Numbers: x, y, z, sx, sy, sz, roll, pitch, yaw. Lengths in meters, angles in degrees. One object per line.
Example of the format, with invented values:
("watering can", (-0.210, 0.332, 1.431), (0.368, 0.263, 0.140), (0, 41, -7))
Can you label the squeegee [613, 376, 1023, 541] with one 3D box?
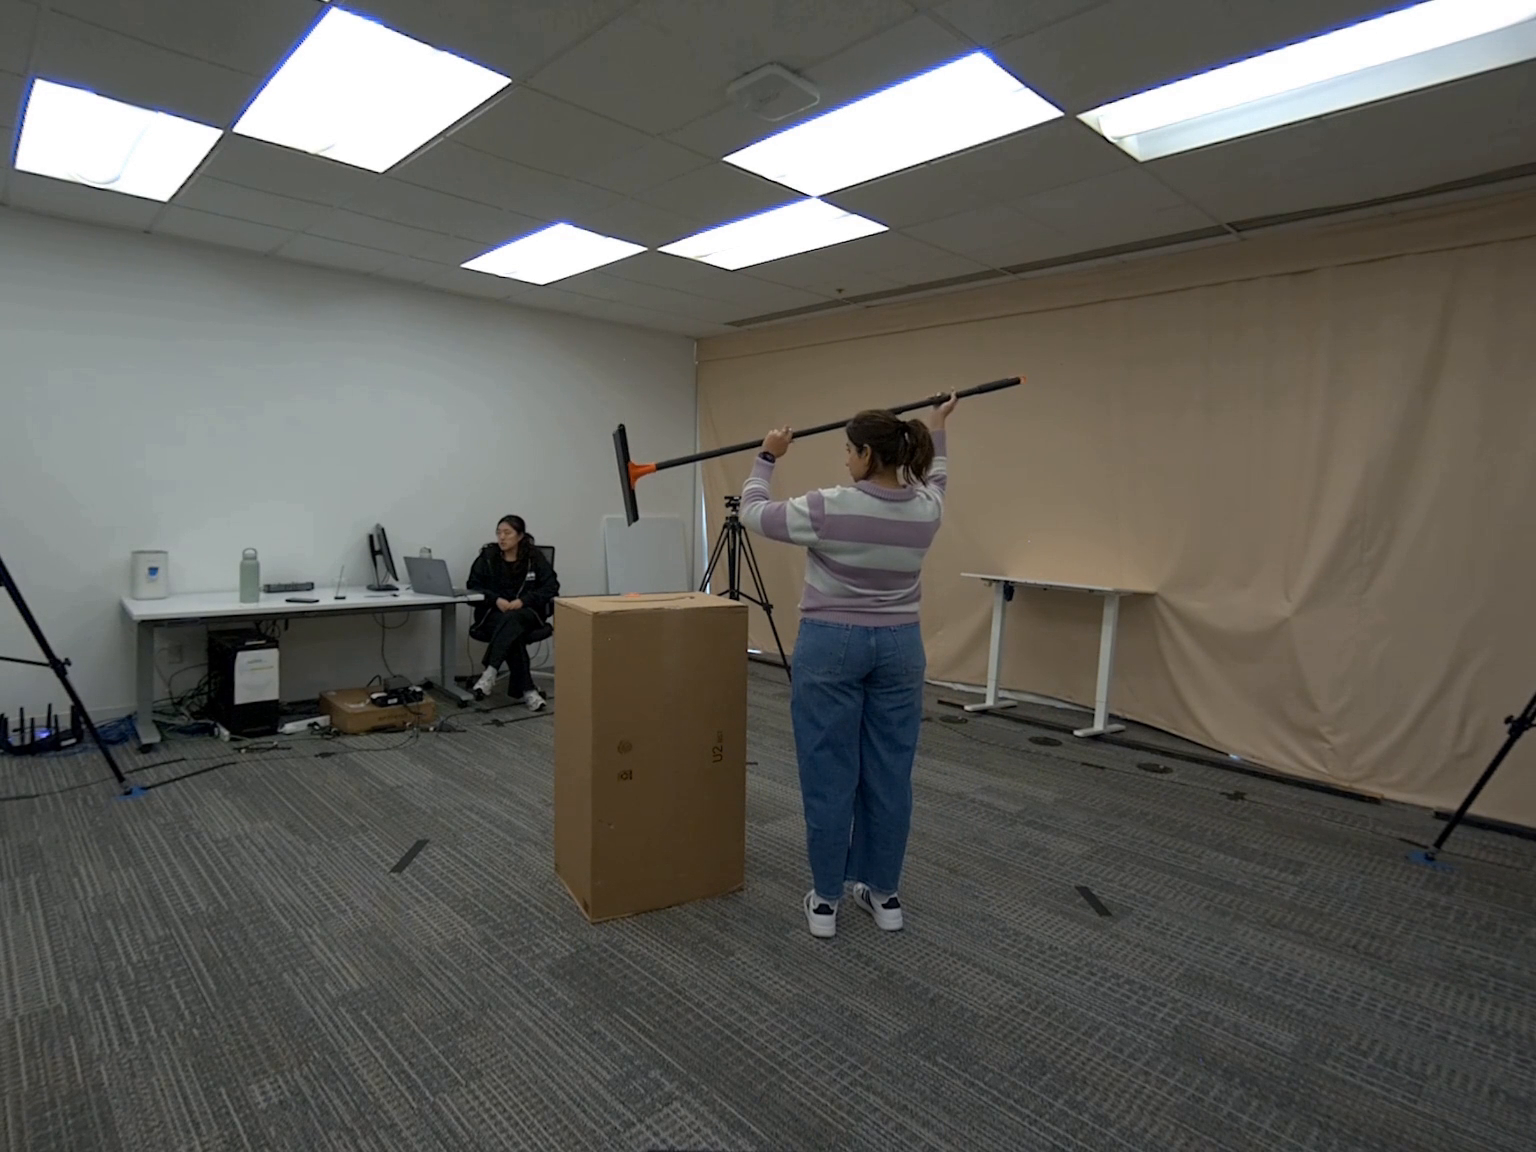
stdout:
("squeegee", (0.219, -0.524, 2.959), (1.526, 0.427, 0.054), (-16, 48, -13))
